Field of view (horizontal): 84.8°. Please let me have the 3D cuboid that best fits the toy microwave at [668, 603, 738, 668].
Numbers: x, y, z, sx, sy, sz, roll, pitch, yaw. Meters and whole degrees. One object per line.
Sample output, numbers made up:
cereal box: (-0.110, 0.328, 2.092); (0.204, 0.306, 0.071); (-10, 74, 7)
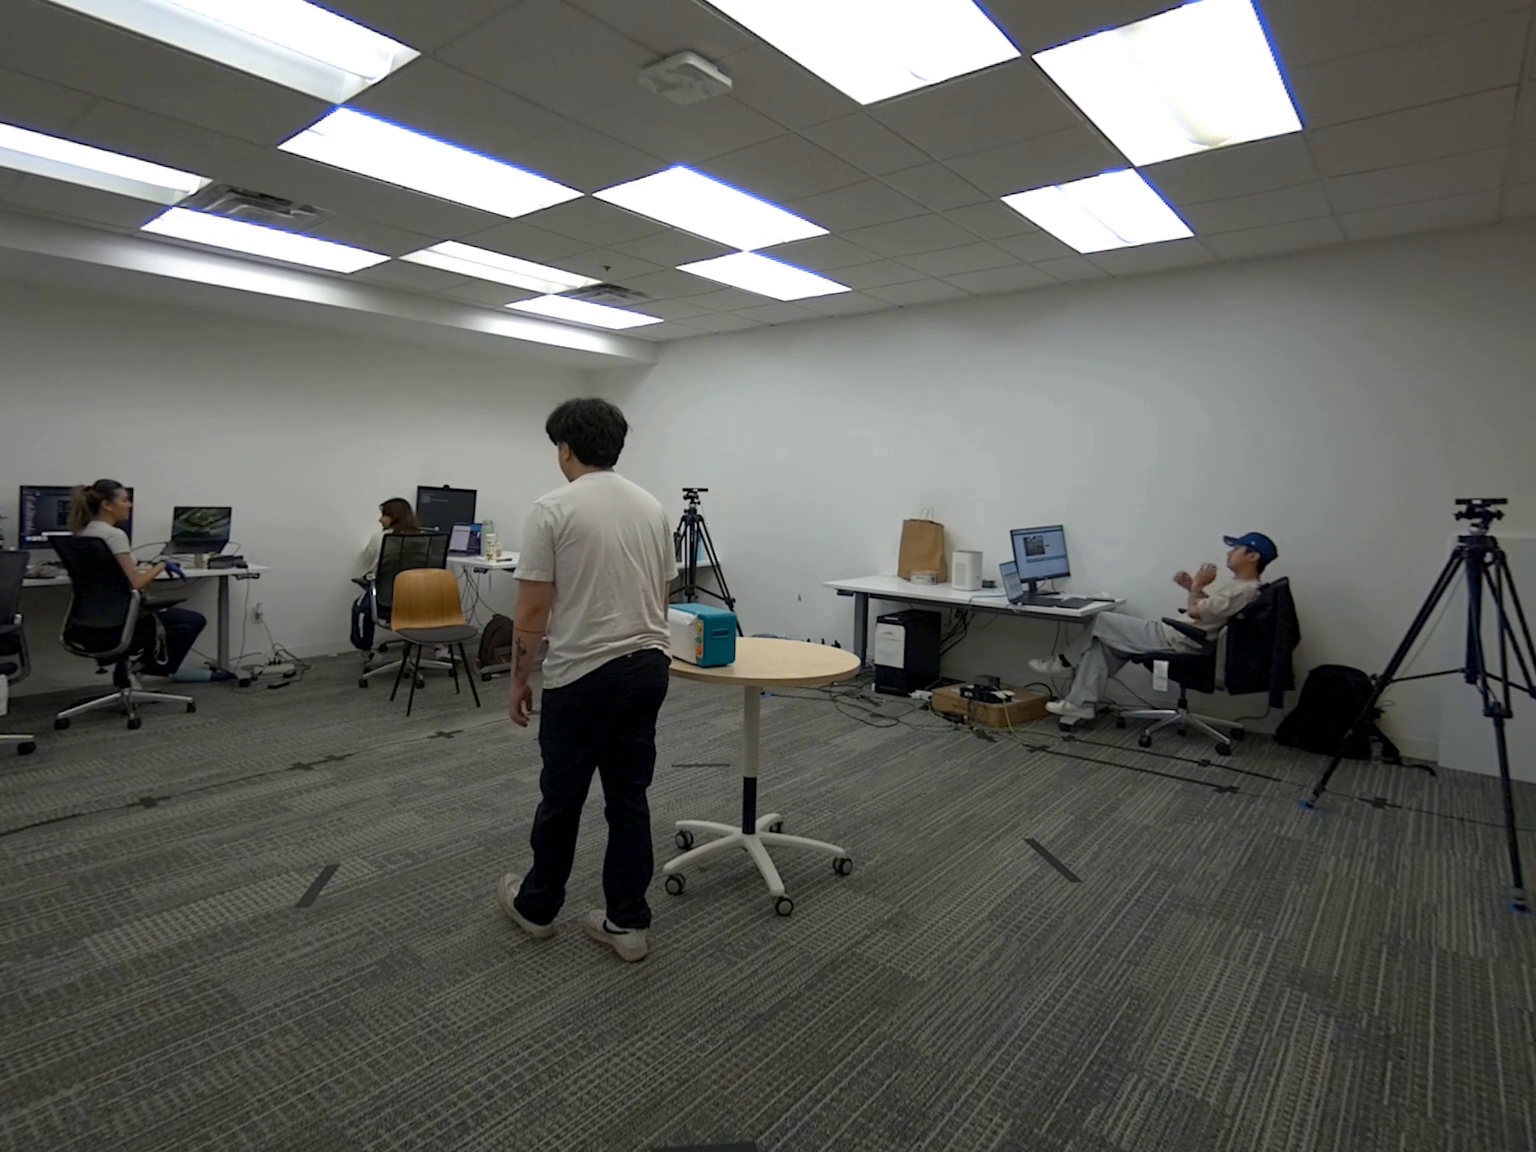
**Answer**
toy microwave: (-0.256, 0.198, 2.942); (0.148, 0.183, 0.295); (-2, 6, -34)
